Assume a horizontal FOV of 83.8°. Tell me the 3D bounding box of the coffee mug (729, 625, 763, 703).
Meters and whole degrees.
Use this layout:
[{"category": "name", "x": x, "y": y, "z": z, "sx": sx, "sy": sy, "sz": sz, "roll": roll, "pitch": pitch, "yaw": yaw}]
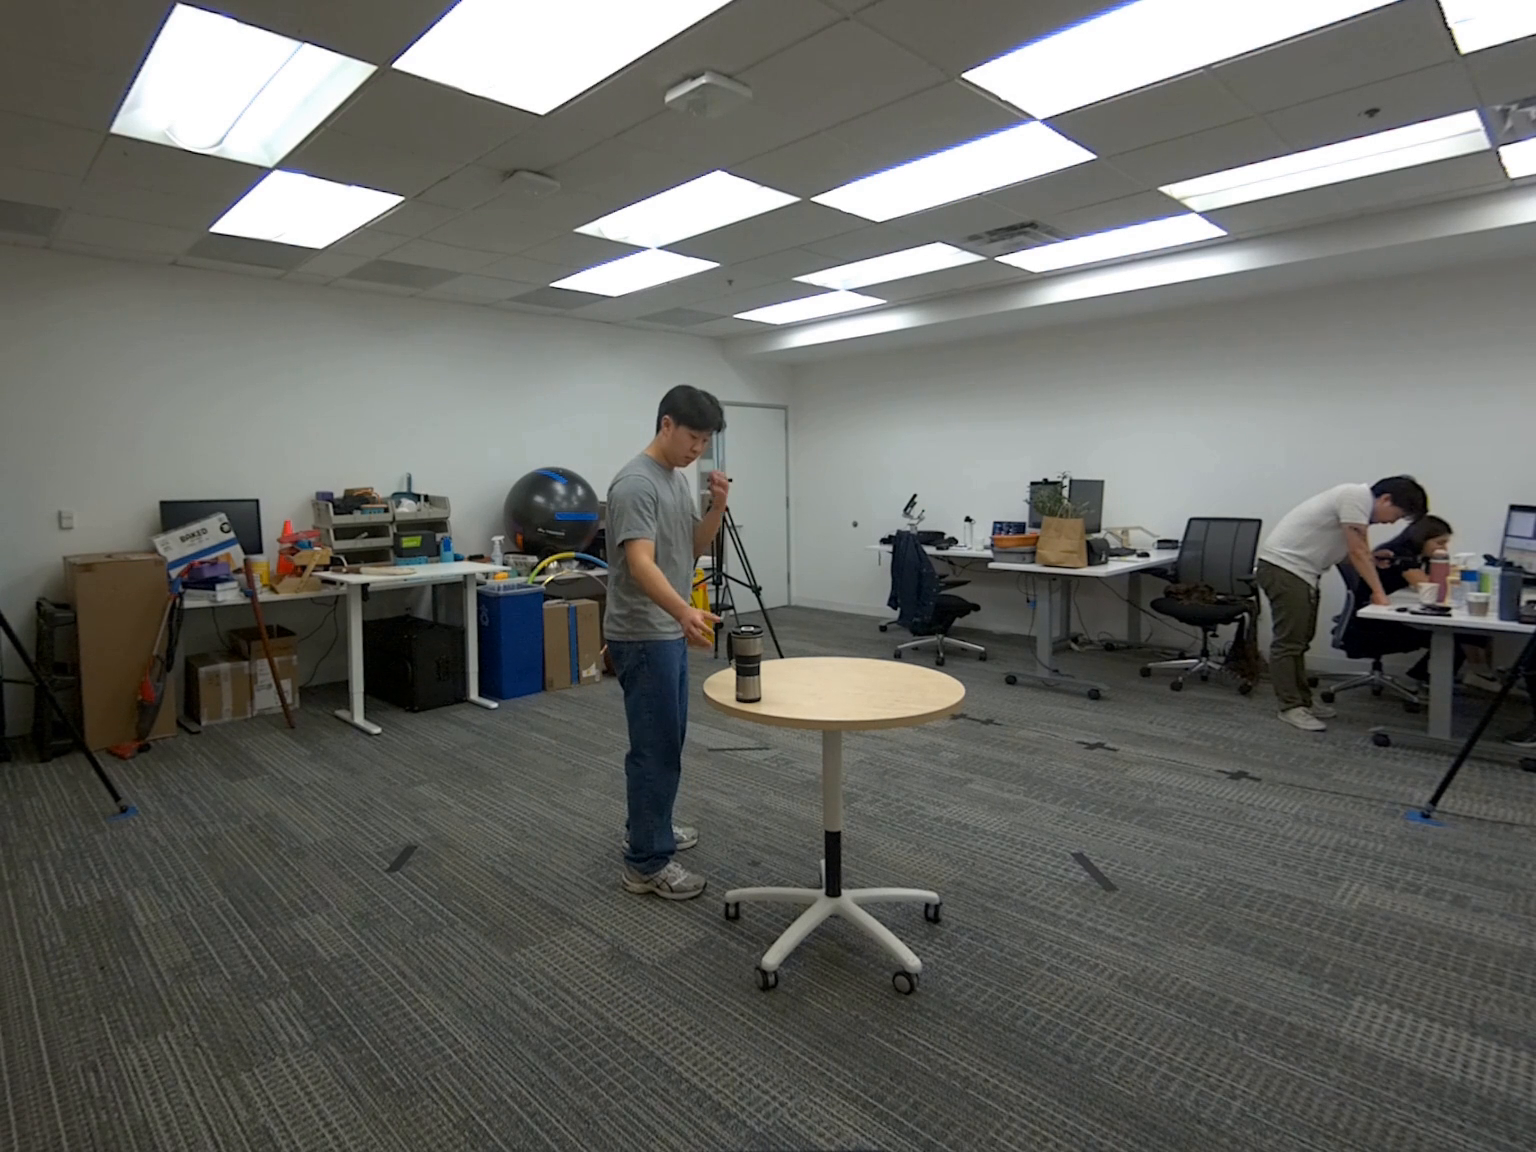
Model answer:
[{"category": "coffee mug", "x": -0.057, "y": 0.244, "z": 2.381, "sx": 0.086, "sy": 0.201, "sz": 0.125, "roll": -5, "pitch": 11, "yaw": -17}]
